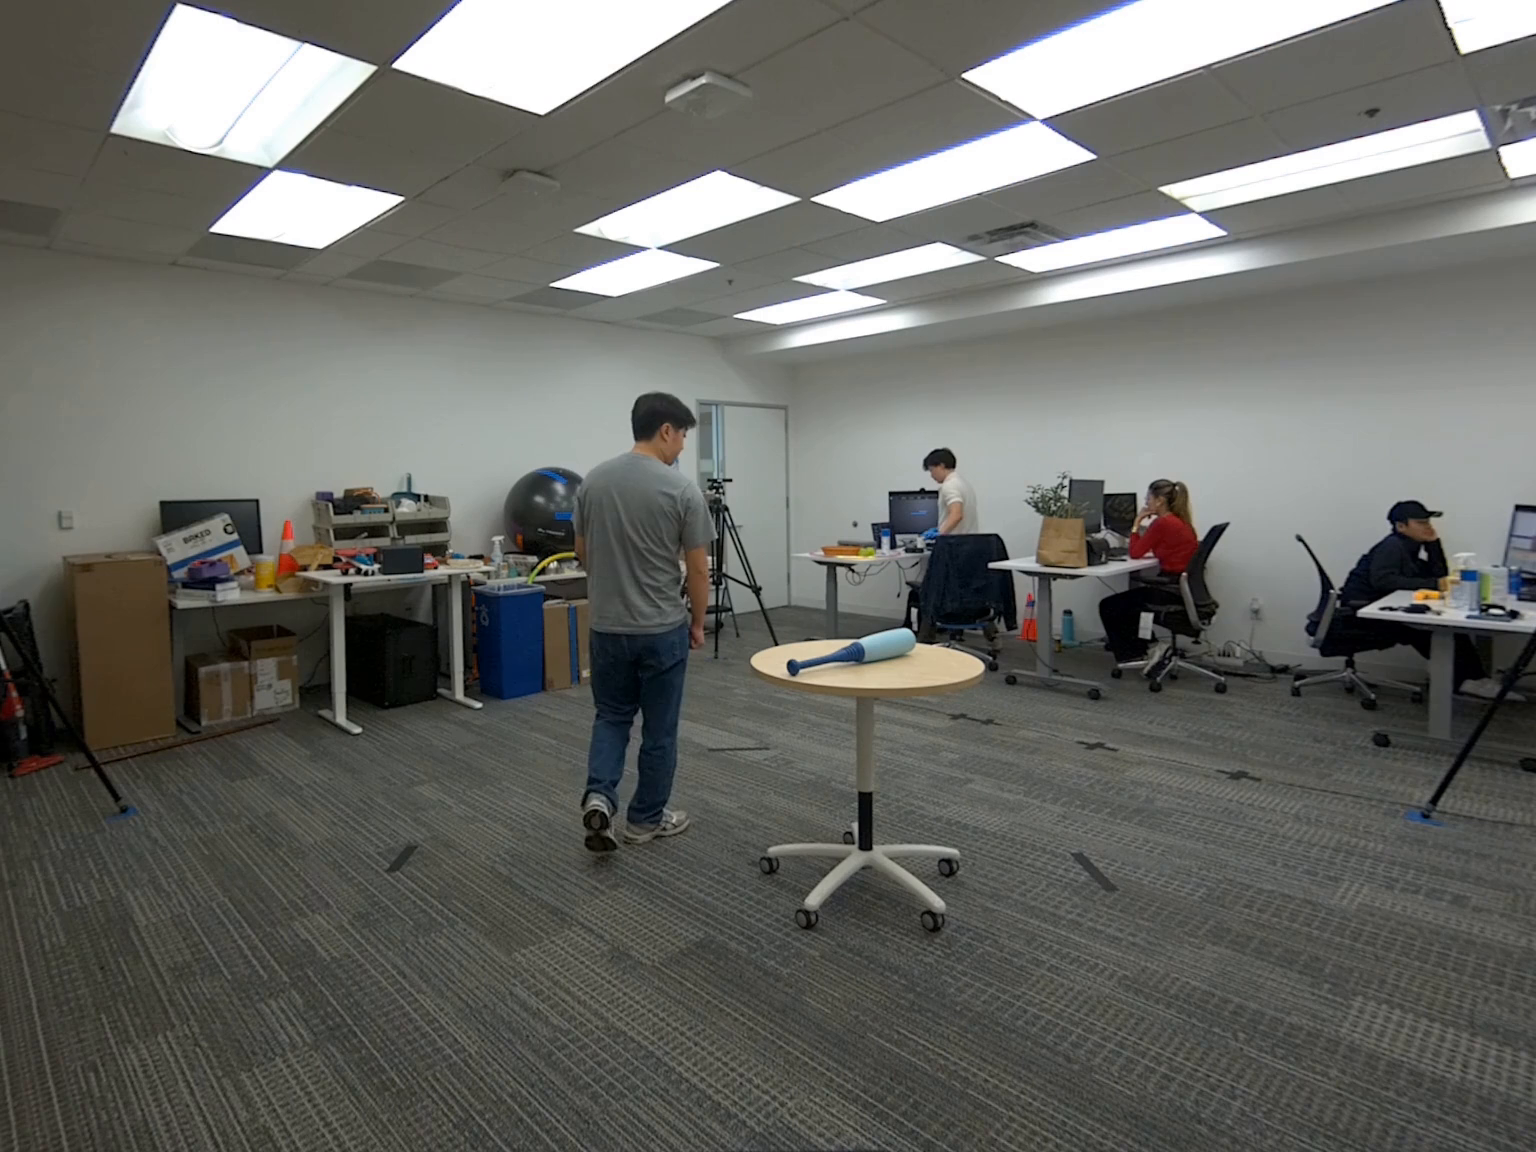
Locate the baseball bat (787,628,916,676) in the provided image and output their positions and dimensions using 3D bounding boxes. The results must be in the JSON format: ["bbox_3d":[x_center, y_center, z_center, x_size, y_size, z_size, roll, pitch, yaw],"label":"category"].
[{"bbox_3d":[0.278,0.254,2.796,0.530,0.088,0.092,-9,9,-37],"label":"baseball bat"}]
